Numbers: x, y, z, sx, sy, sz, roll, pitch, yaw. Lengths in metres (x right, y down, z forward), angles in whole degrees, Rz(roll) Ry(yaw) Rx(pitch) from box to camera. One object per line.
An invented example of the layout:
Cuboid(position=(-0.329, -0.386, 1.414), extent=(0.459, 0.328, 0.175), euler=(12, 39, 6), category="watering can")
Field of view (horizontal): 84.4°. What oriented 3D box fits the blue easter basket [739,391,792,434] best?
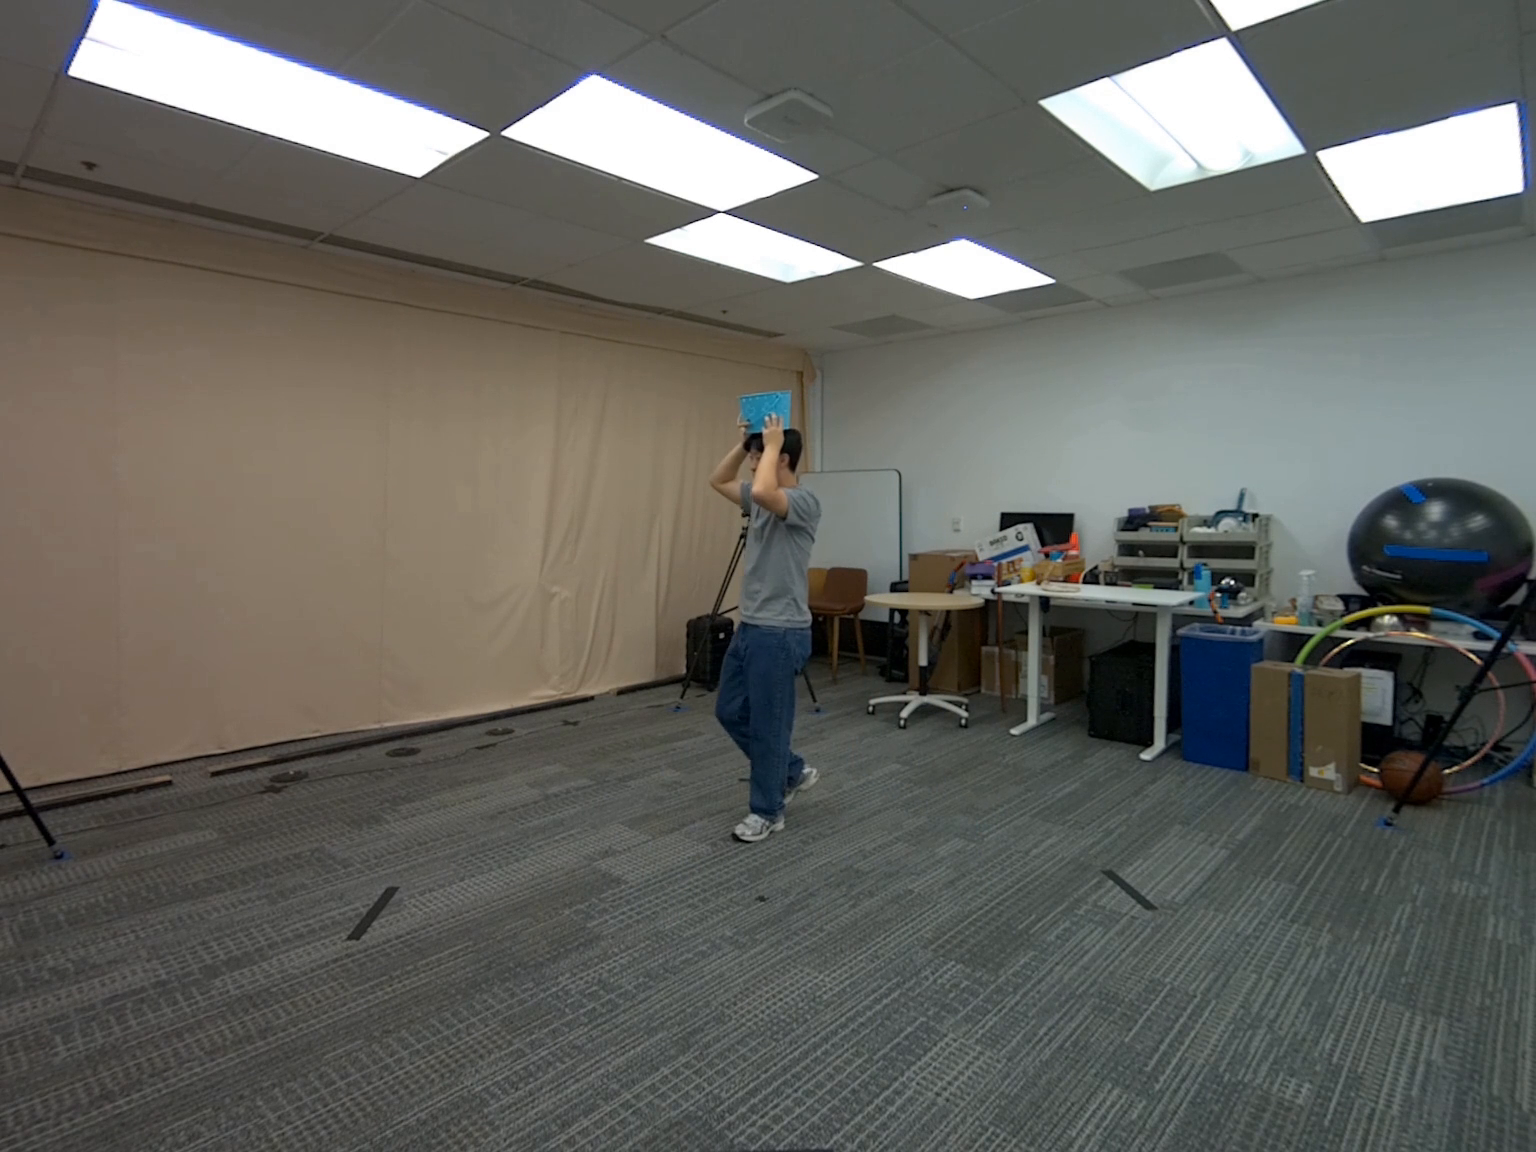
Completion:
Cuboid(position=(-0.015, -0.678, 3.497), extent=(0.244, 0.155, 0.245), euler=(-8, 9, -1), category="blue easter basket")
